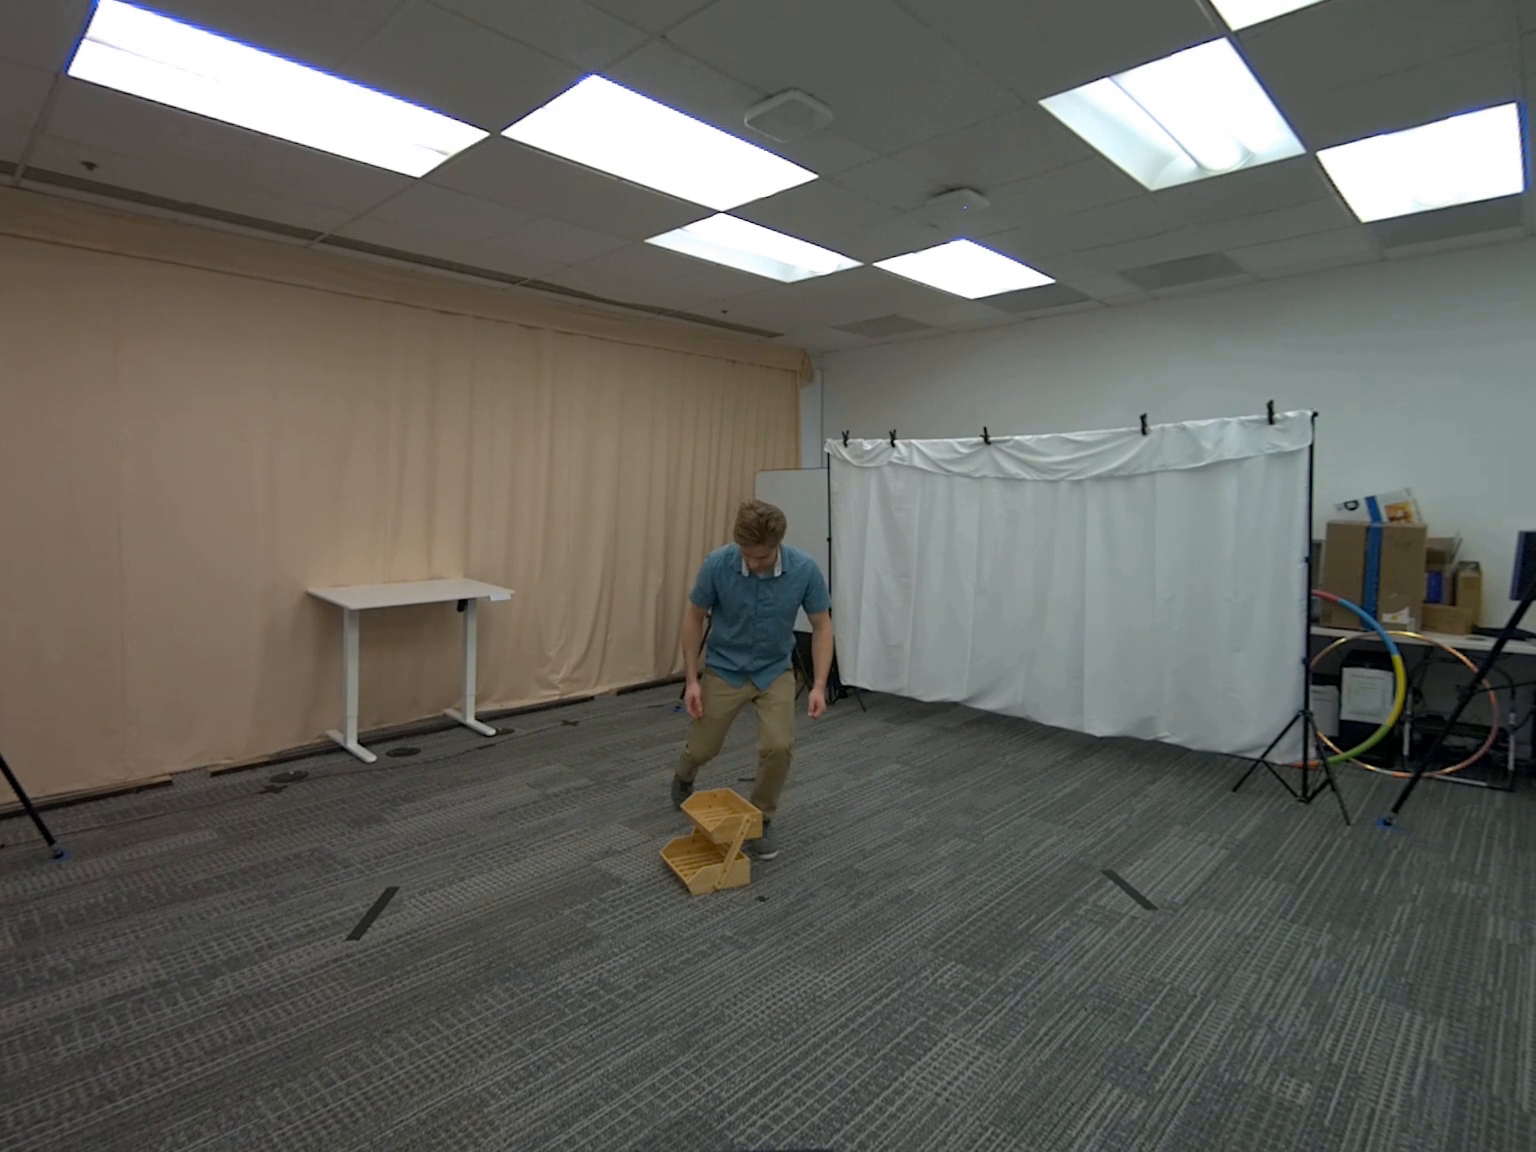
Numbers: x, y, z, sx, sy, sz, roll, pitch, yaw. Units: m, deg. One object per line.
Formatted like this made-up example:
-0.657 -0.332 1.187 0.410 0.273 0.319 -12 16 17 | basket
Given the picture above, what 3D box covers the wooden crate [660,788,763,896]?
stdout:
-0.222 0.990 3.195 0.295 0.273 0.333 -2 4 -26 | wooden crate
